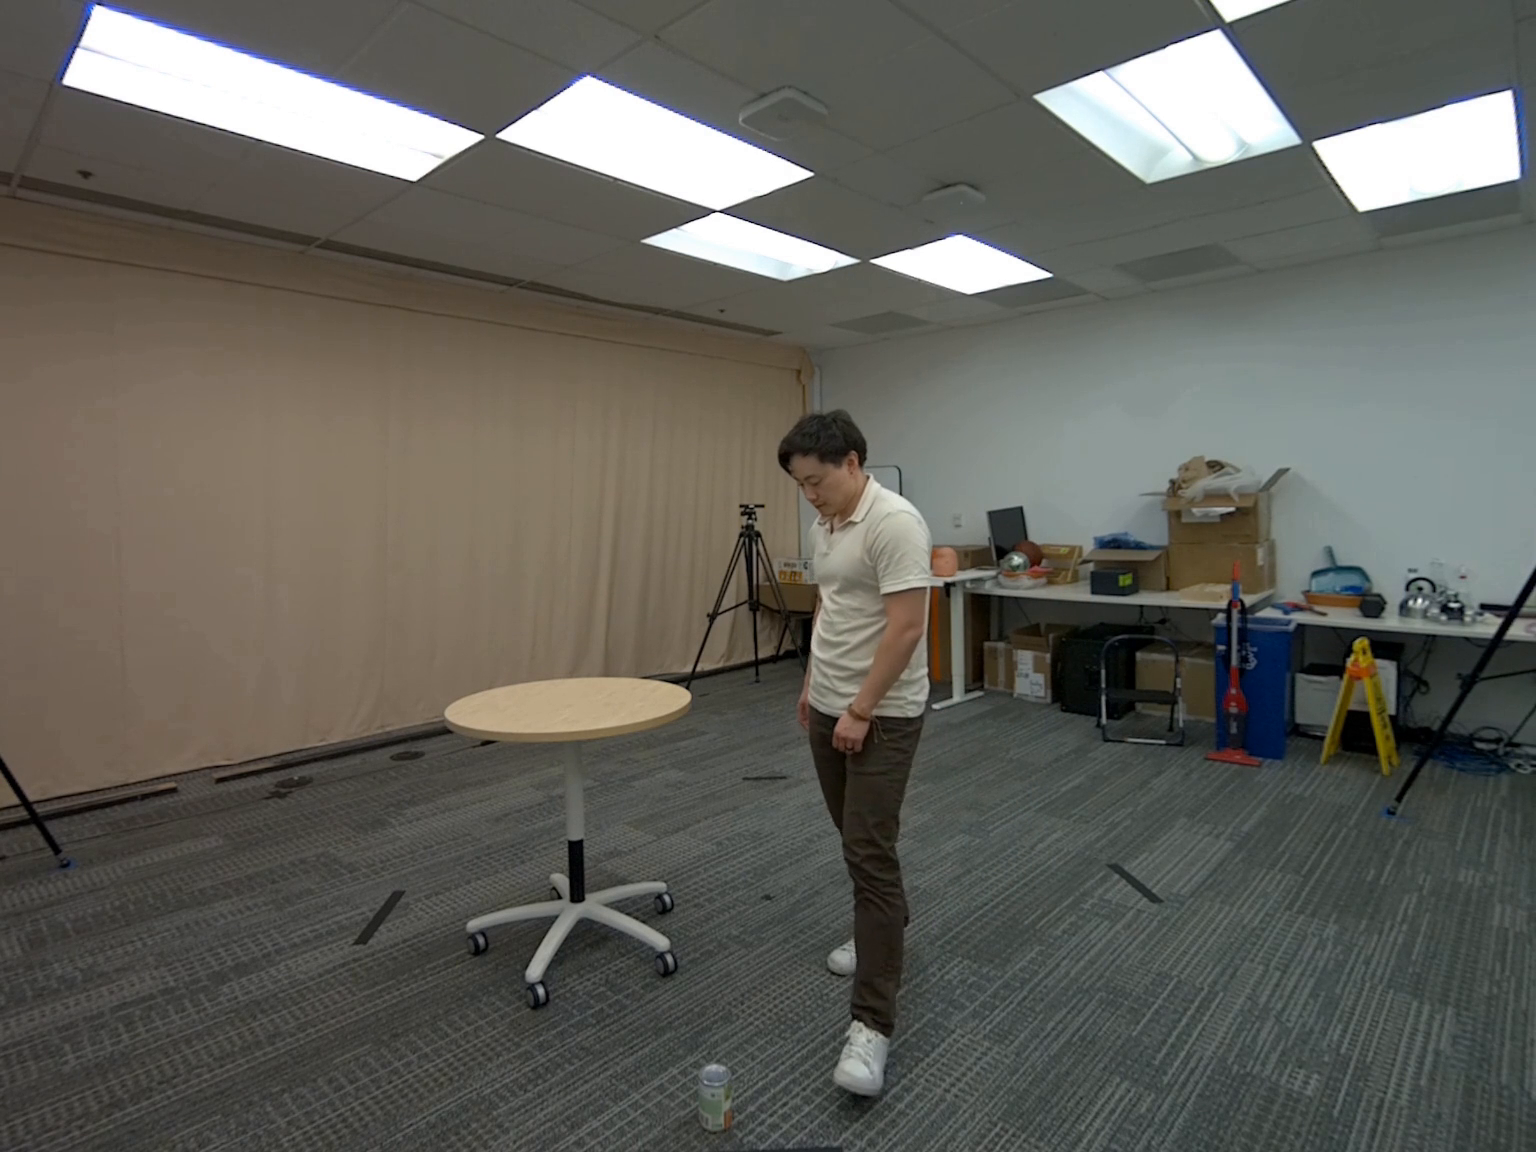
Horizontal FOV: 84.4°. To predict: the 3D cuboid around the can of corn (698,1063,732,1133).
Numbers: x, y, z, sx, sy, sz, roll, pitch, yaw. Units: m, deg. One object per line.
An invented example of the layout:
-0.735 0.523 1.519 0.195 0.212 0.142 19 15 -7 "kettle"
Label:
-0.116 1.180 1.898 0.074 0.111 0.074 -1 5 -2 "can of corn"
